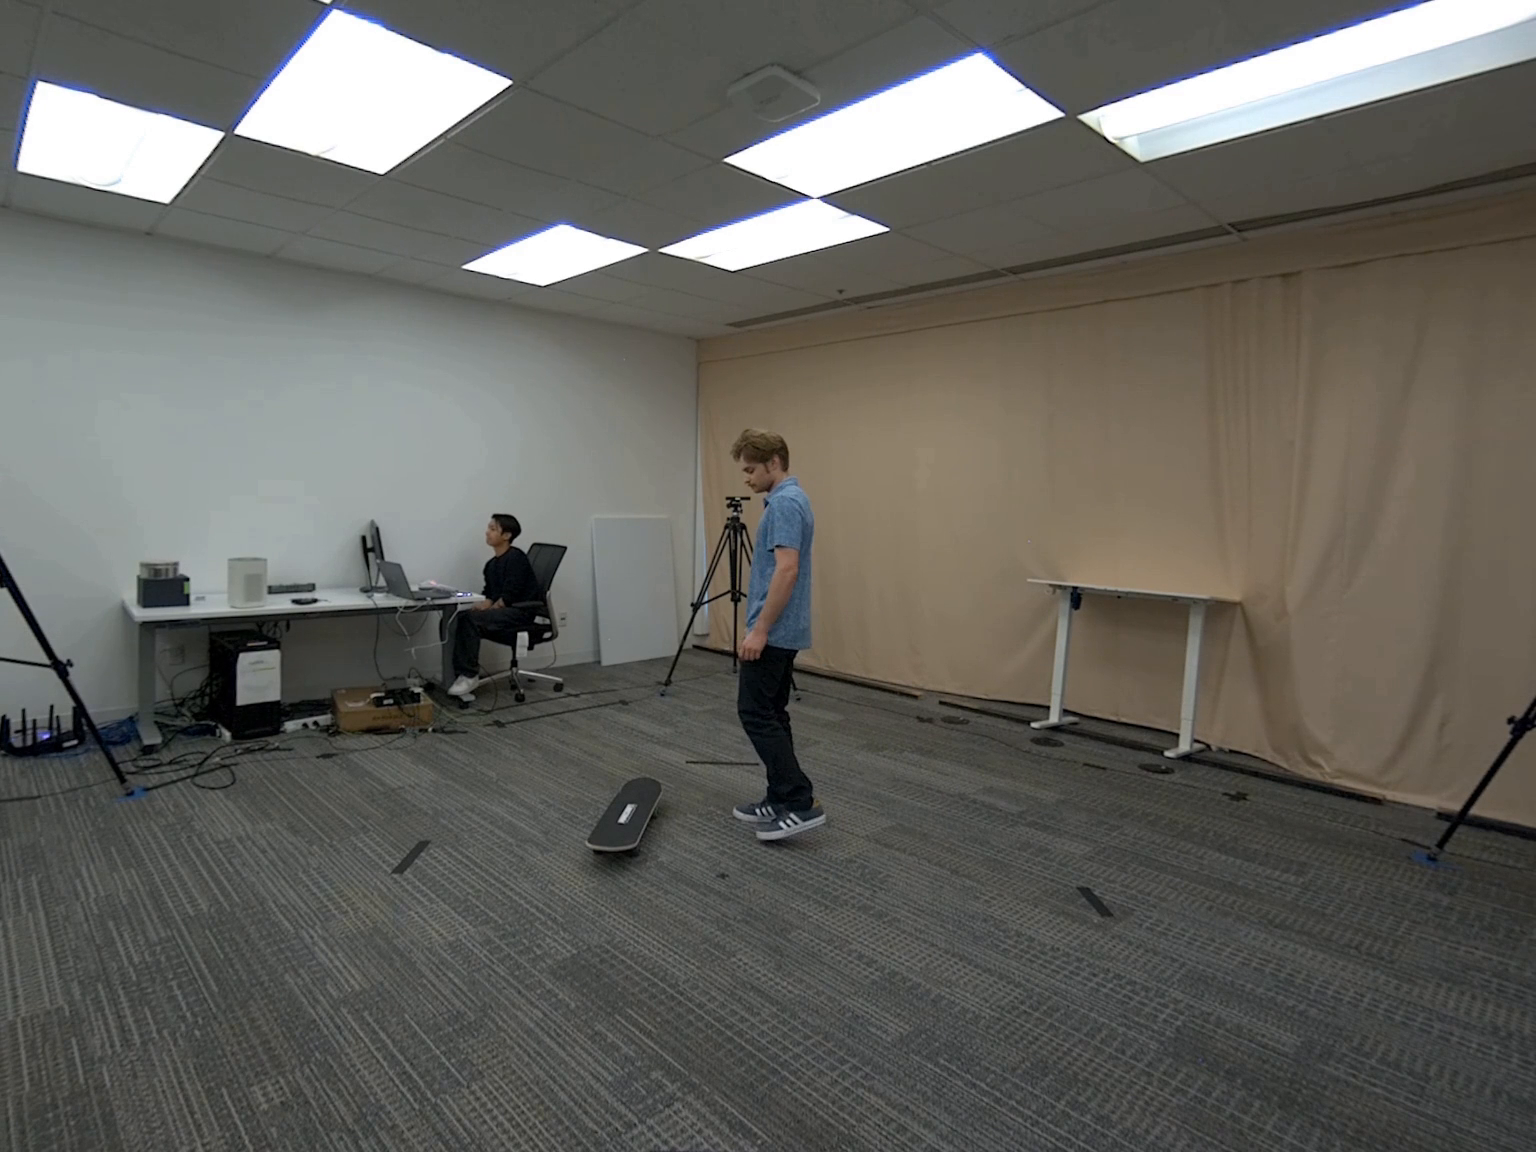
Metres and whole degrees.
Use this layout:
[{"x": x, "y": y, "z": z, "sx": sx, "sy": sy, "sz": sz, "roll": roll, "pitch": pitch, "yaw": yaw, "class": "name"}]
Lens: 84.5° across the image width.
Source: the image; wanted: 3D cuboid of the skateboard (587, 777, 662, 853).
[{"x": -0.592, "y": 1.011, "z": 3.463, "sx": 0.194, "sy": 0.110, "sz": 0.785, "roll": 1, "pitch": 5, "yaw": 2, "class": "skateboard"}]
